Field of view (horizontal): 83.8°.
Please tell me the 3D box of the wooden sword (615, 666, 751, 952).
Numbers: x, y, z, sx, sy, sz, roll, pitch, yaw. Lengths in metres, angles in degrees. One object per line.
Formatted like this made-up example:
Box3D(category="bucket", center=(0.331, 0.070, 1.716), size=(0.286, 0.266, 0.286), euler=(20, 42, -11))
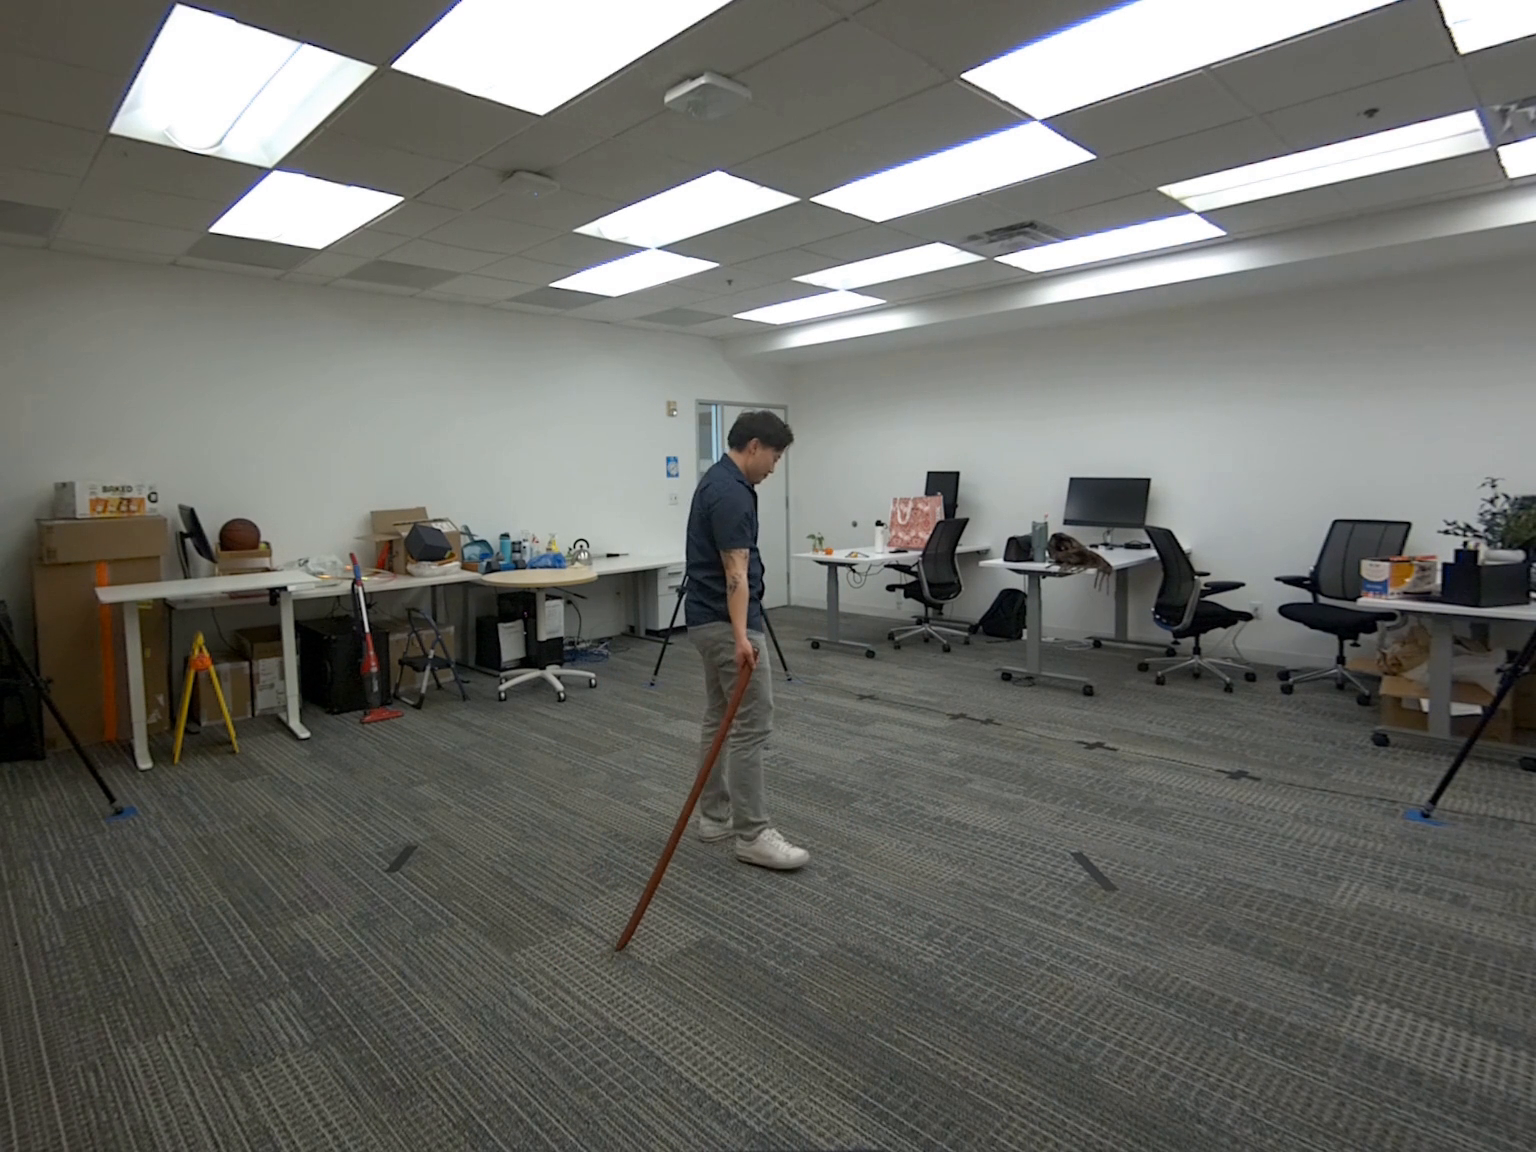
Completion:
Box3D(category="wooden sword", center=(-0.231, 0.694, 2.736), size=(0.053, 1.033, 0.023), euler=(2, -32, 44))
